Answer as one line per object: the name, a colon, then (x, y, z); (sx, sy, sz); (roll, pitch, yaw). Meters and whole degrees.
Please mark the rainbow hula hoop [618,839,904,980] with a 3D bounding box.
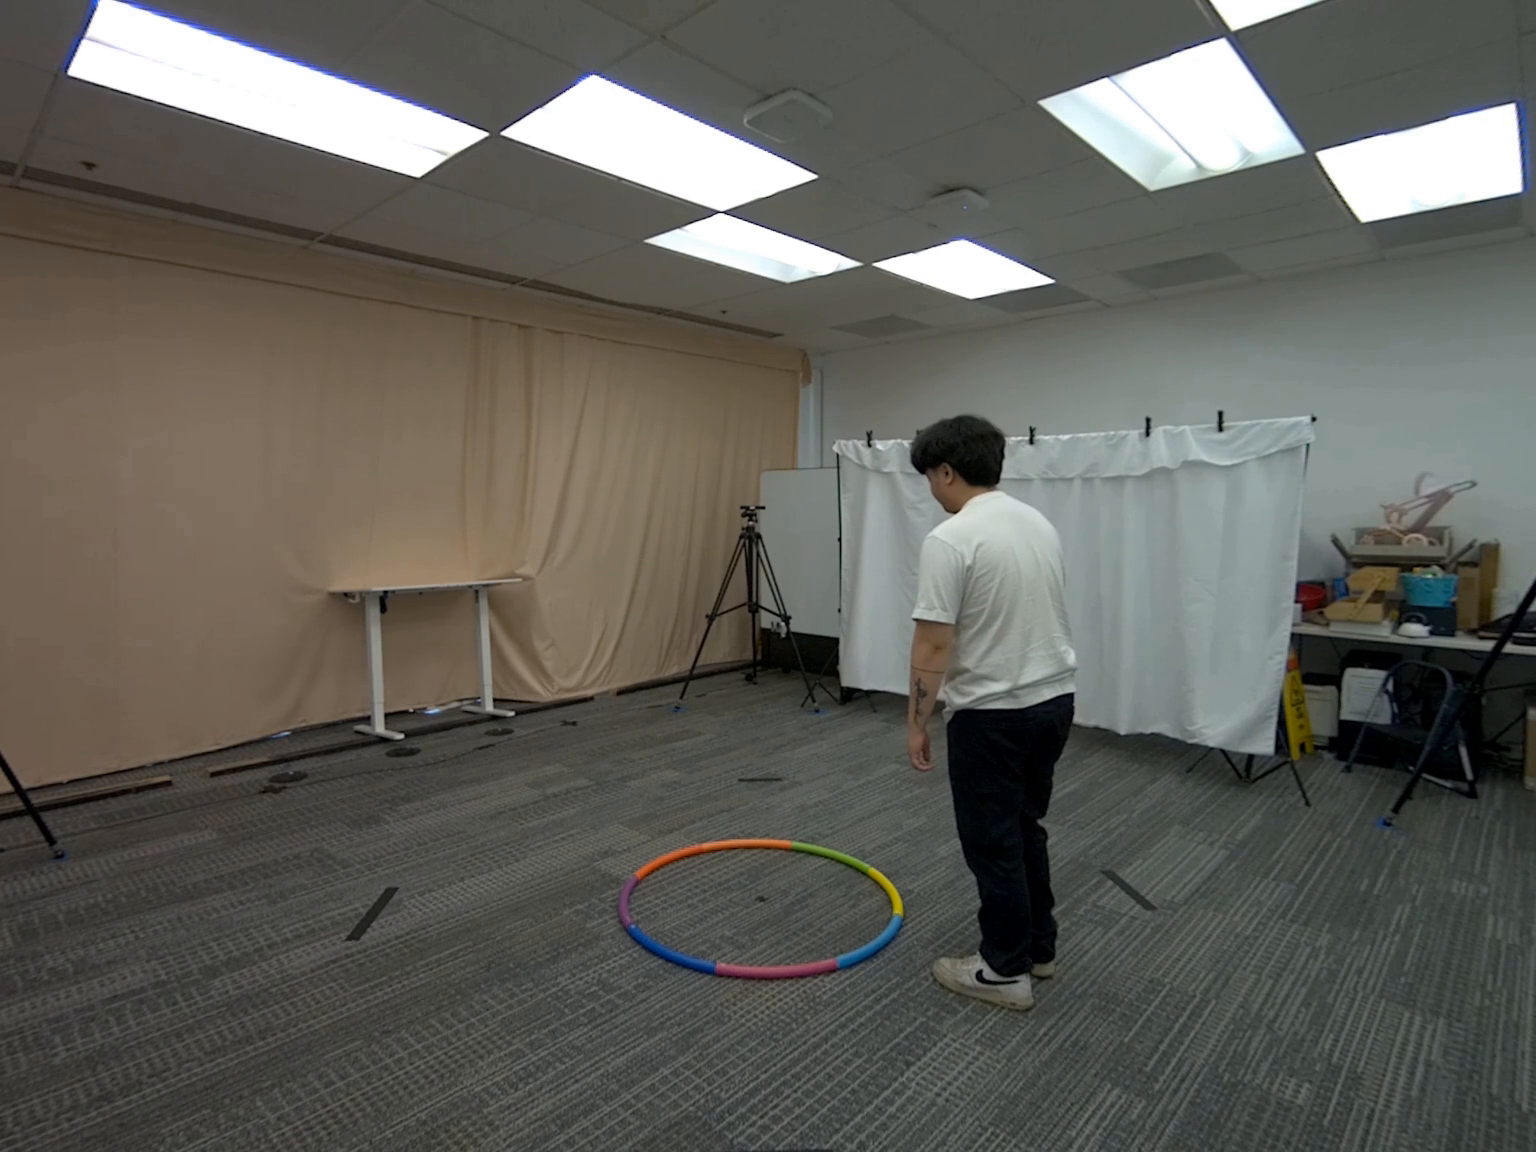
rainbow hula hoop: (-0.026, 1.121, 2.953); (0.985, 0.051, 0.989); (0, 4, -2)
